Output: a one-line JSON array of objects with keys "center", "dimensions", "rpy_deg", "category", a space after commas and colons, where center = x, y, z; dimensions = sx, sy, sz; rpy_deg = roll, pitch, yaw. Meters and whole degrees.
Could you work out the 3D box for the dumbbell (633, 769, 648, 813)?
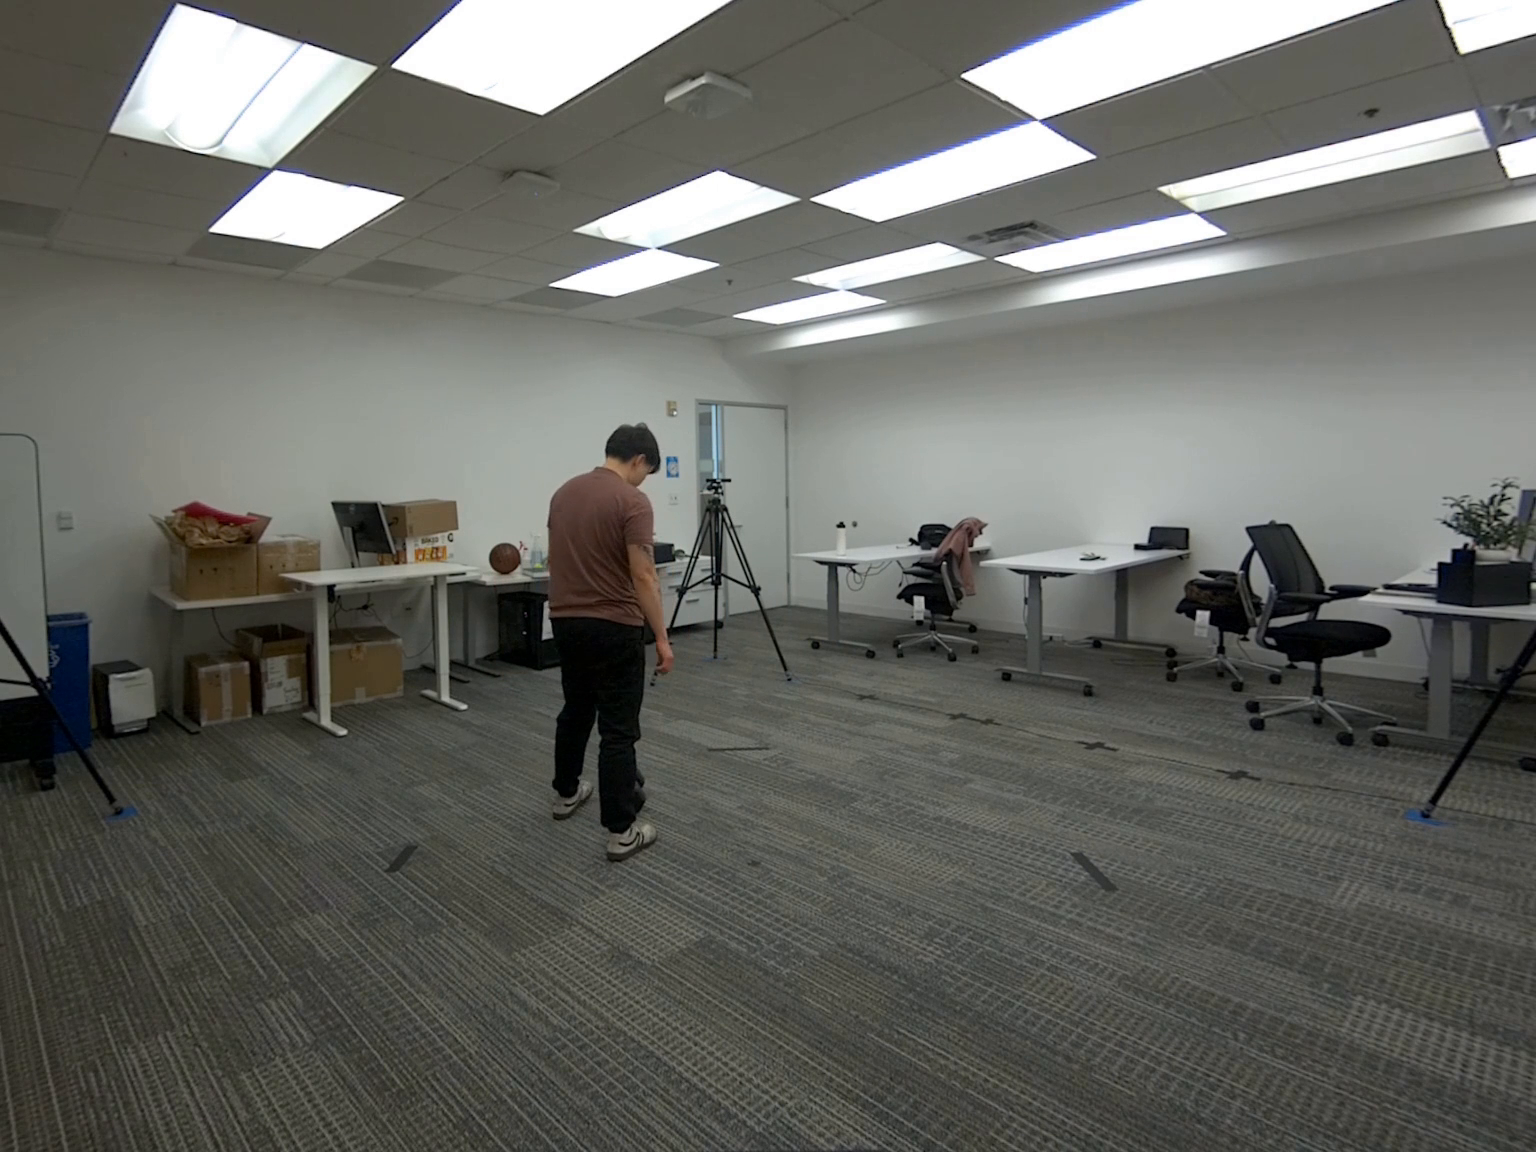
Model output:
[{"center": [-0.594, 0.939, 3.736], "dimensions": [0.122, 0.108, 0.297], "rpy_deg": [-3, 7, -7], "category": "dumbbell"}]
